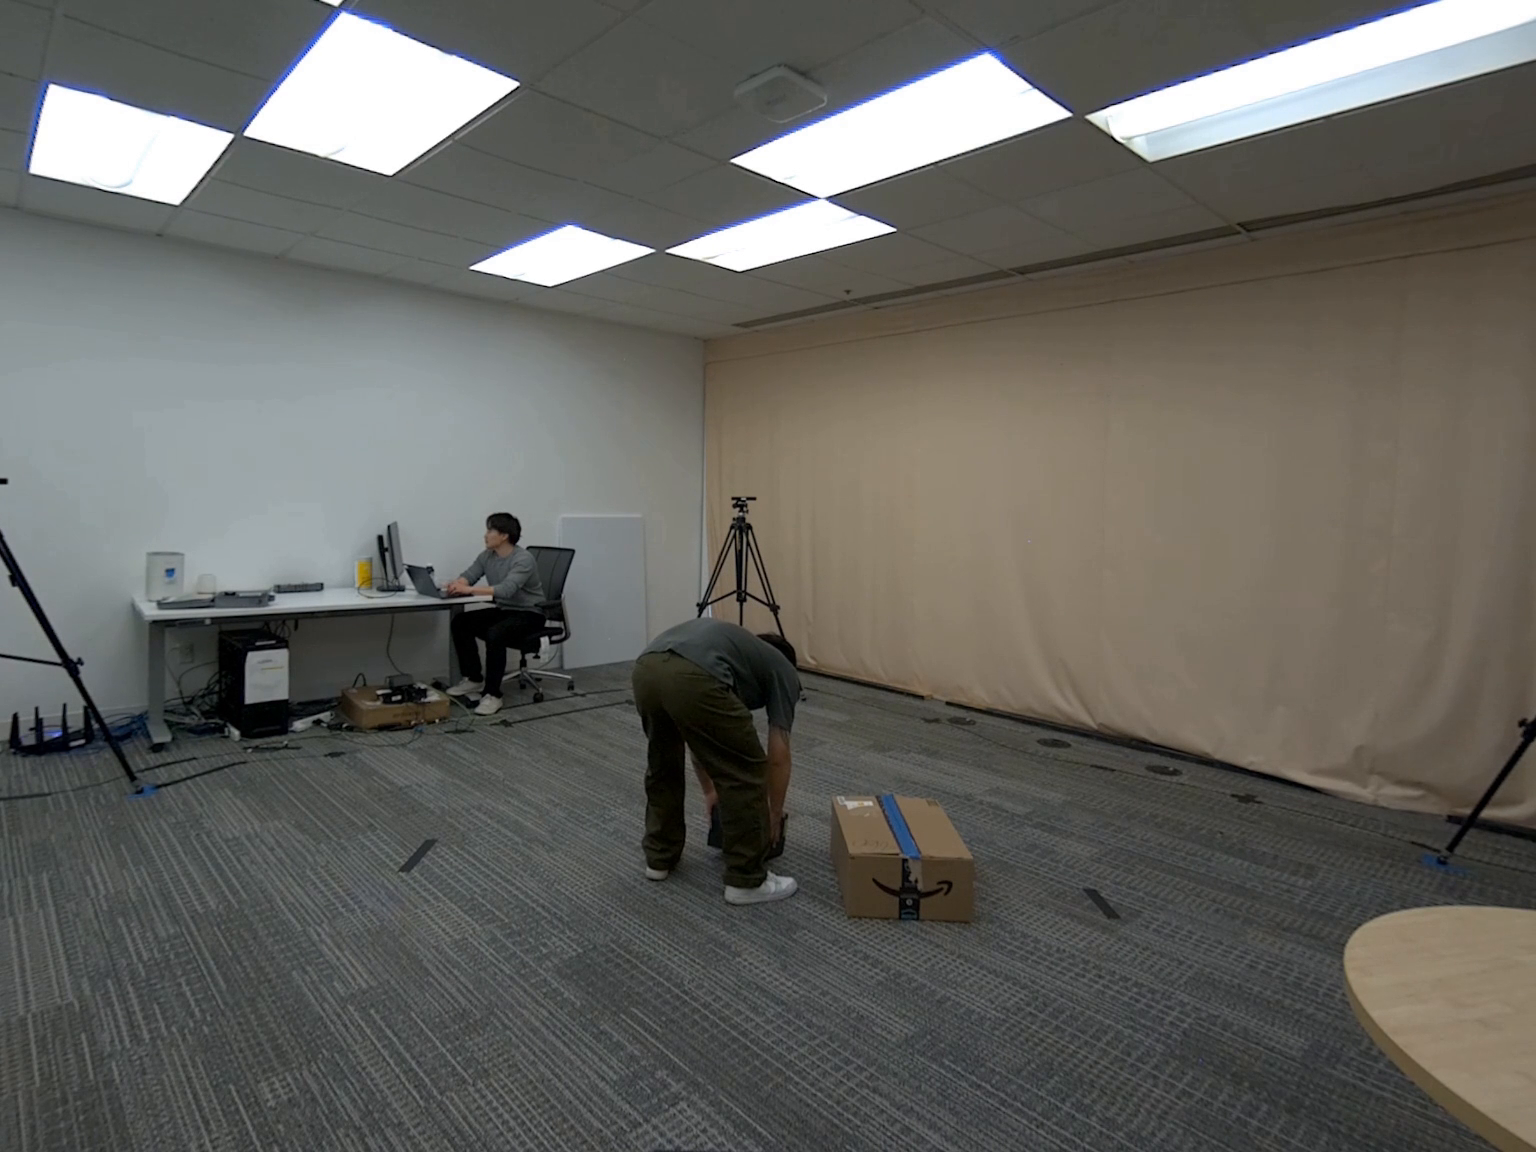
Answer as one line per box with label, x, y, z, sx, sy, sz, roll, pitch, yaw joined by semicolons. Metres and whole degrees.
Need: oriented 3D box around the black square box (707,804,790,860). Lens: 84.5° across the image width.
black square box;-0.075;0.991;3.296;0.233;0.156;0.211;3;-7;29
